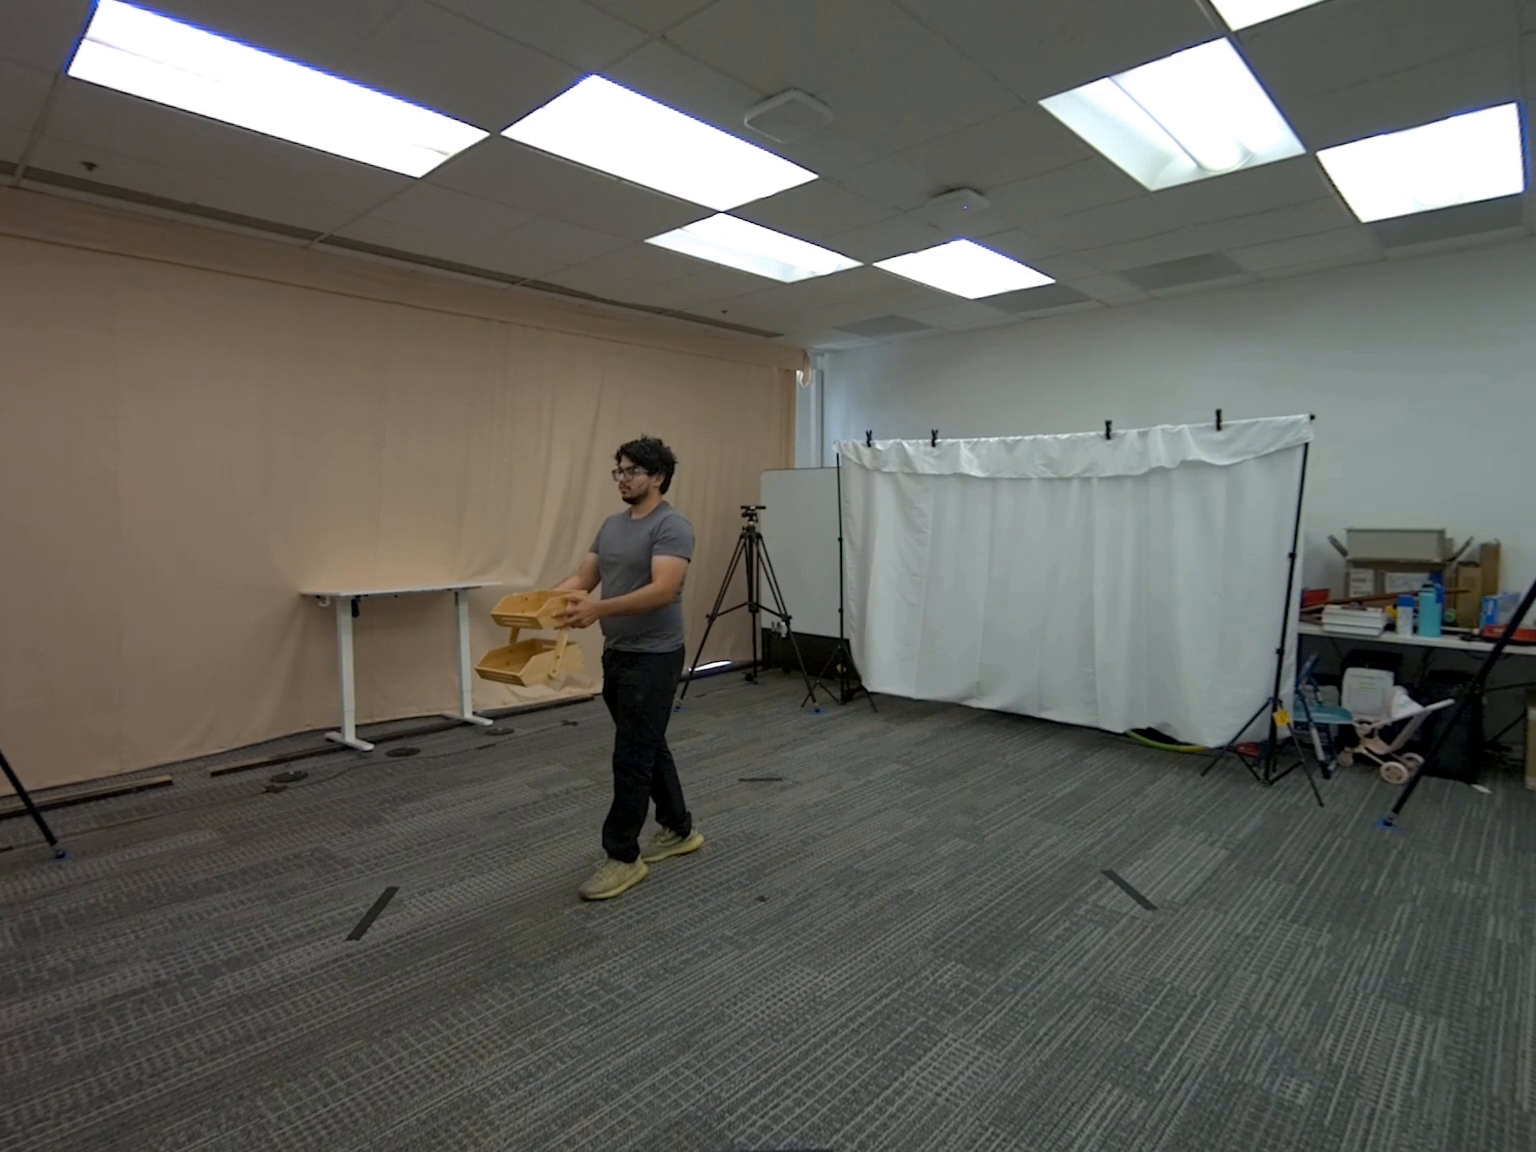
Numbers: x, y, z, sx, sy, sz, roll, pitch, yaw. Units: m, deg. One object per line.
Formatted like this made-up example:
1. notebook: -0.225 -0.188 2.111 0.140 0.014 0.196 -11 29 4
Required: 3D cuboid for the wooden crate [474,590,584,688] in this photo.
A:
1. wooden crate: -0.805 0.197 2.870 0.335 0.272 0.294 3 10 43
